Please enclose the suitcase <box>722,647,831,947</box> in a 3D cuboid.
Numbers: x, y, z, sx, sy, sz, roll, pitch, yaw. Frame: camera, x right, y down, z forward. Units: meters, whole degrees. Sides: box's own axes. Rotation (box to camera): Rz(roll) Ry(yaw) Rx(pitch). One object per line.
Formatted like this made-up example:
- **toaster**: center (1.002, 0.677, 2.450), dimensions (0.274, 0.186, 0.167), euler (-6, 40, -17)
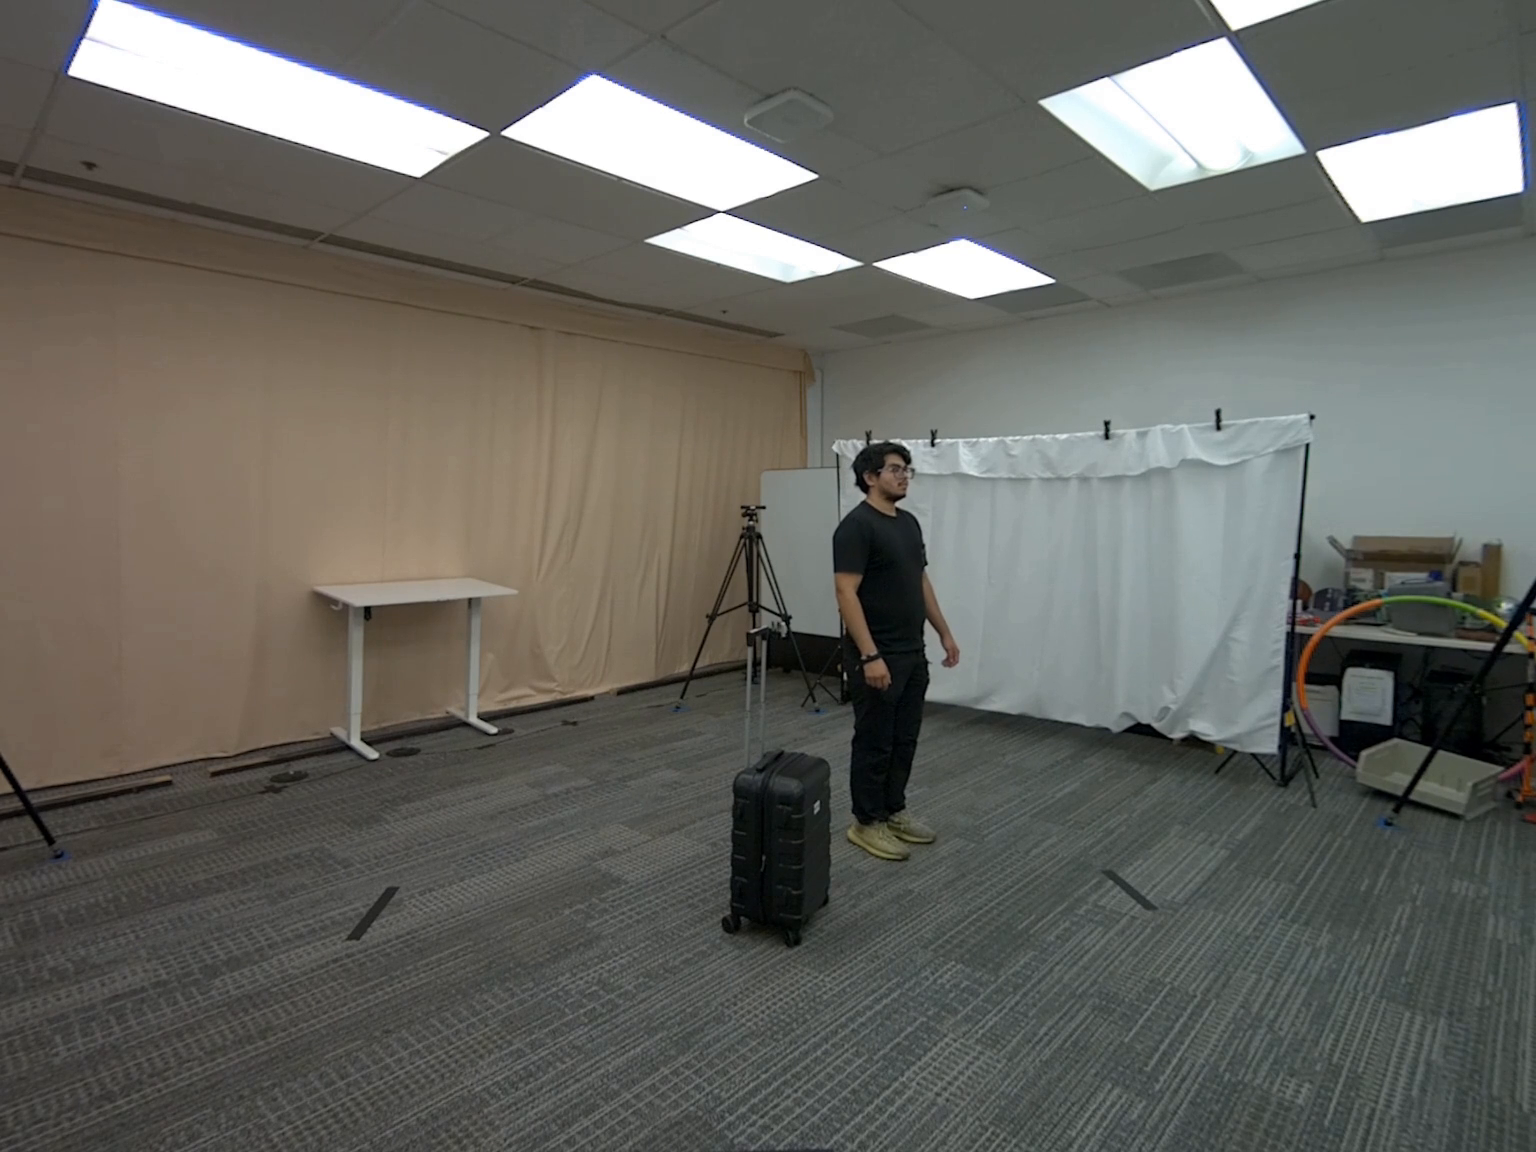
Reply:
- **suitcase**: center (0.062, 0.684, 2.803), dimensions (0.263, 0.976, 0.376), euler (5, 5, 21)
